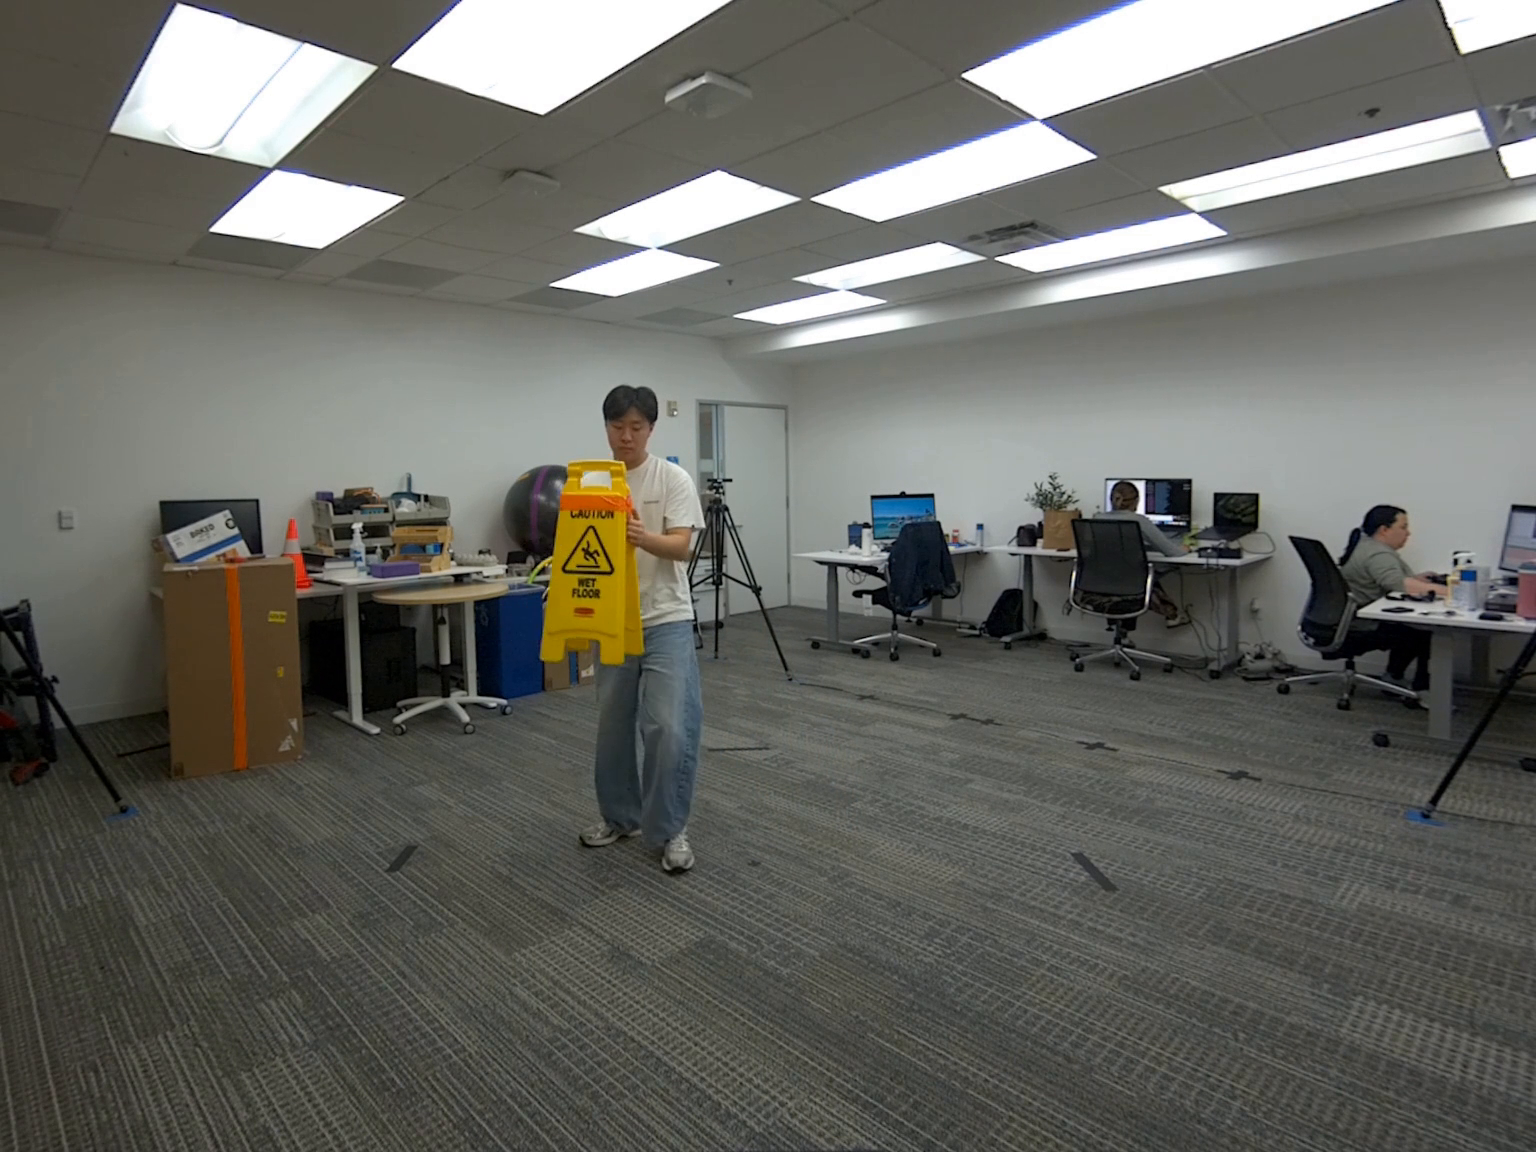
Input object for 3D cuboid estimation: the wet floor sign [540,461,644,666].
[{"bbox_3d":[-0.567,-0.049,2.818,0.285,0.646,0.287,1,1,10],"label":"wet floor sign"}]
